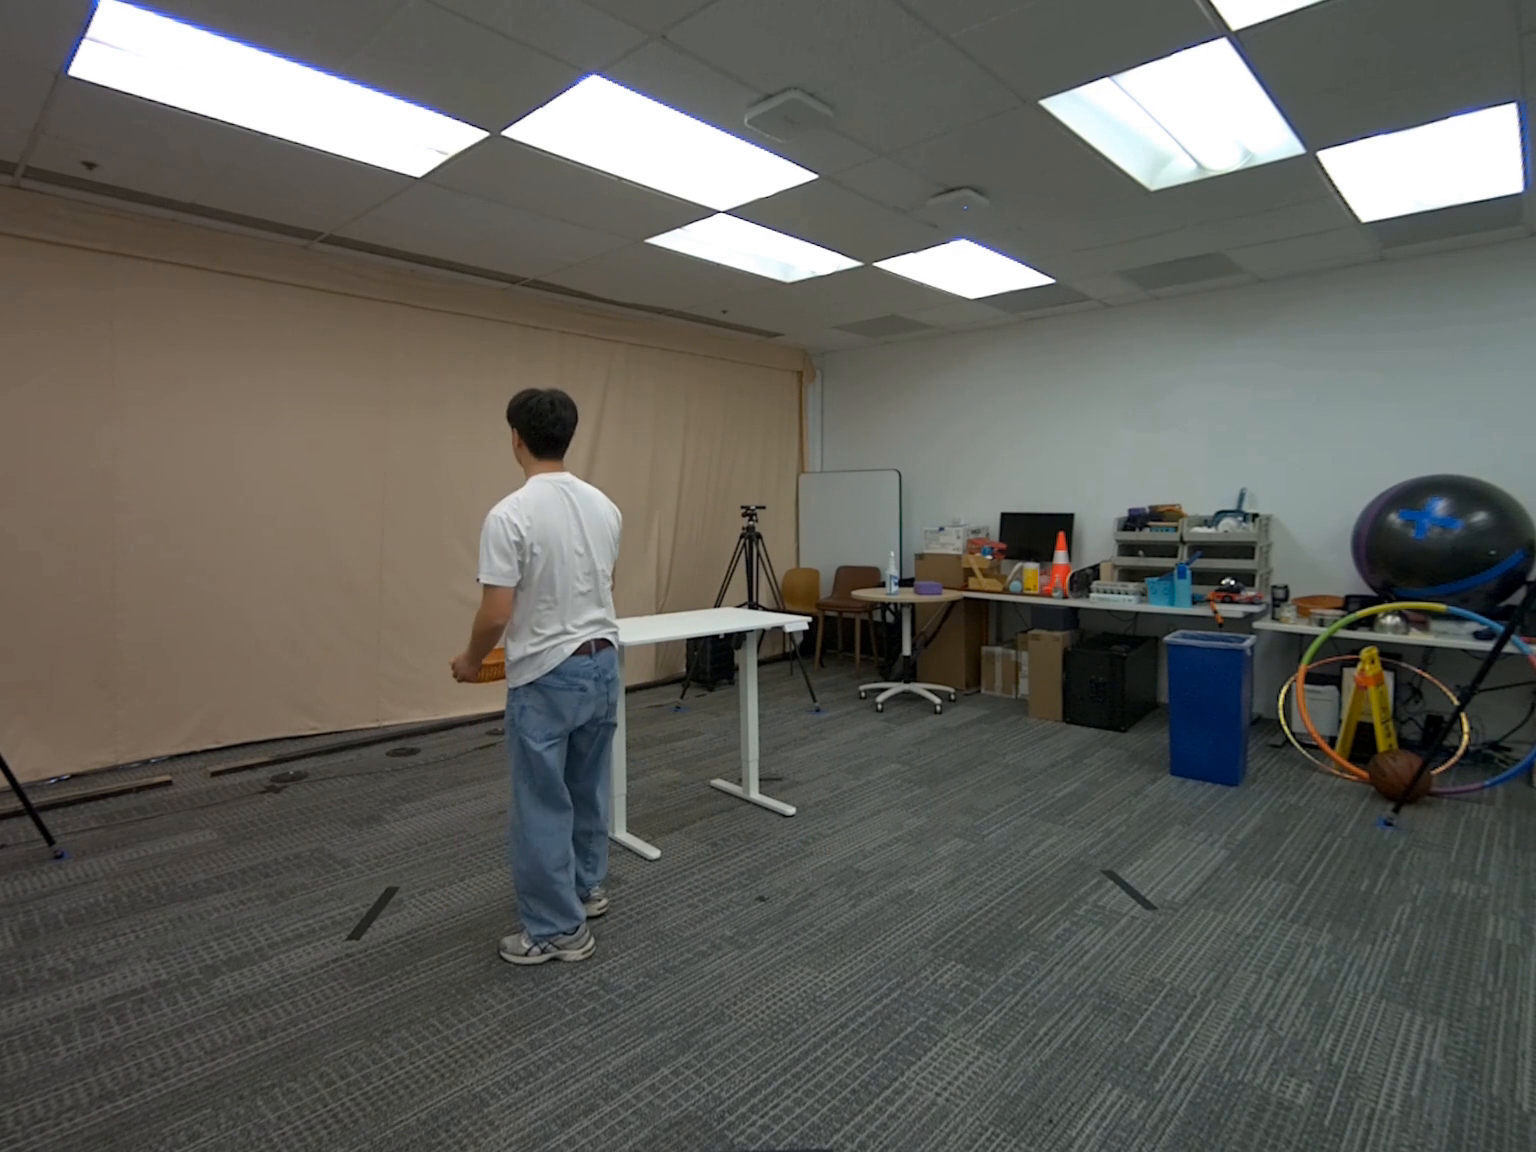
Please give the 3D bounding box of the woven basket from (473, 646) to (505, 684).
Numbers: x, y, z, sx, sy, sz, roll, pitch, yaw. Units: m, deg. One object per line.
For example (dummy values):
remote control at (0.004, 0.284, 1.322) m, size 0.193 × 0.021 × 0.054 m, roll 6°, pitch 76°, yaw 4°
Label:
woven basket at (-0.887, 0.307, 2.799) m, size 0.260 × 0.073 × 0.340 m, roll 1°, pitch 6°, yaw 42°
